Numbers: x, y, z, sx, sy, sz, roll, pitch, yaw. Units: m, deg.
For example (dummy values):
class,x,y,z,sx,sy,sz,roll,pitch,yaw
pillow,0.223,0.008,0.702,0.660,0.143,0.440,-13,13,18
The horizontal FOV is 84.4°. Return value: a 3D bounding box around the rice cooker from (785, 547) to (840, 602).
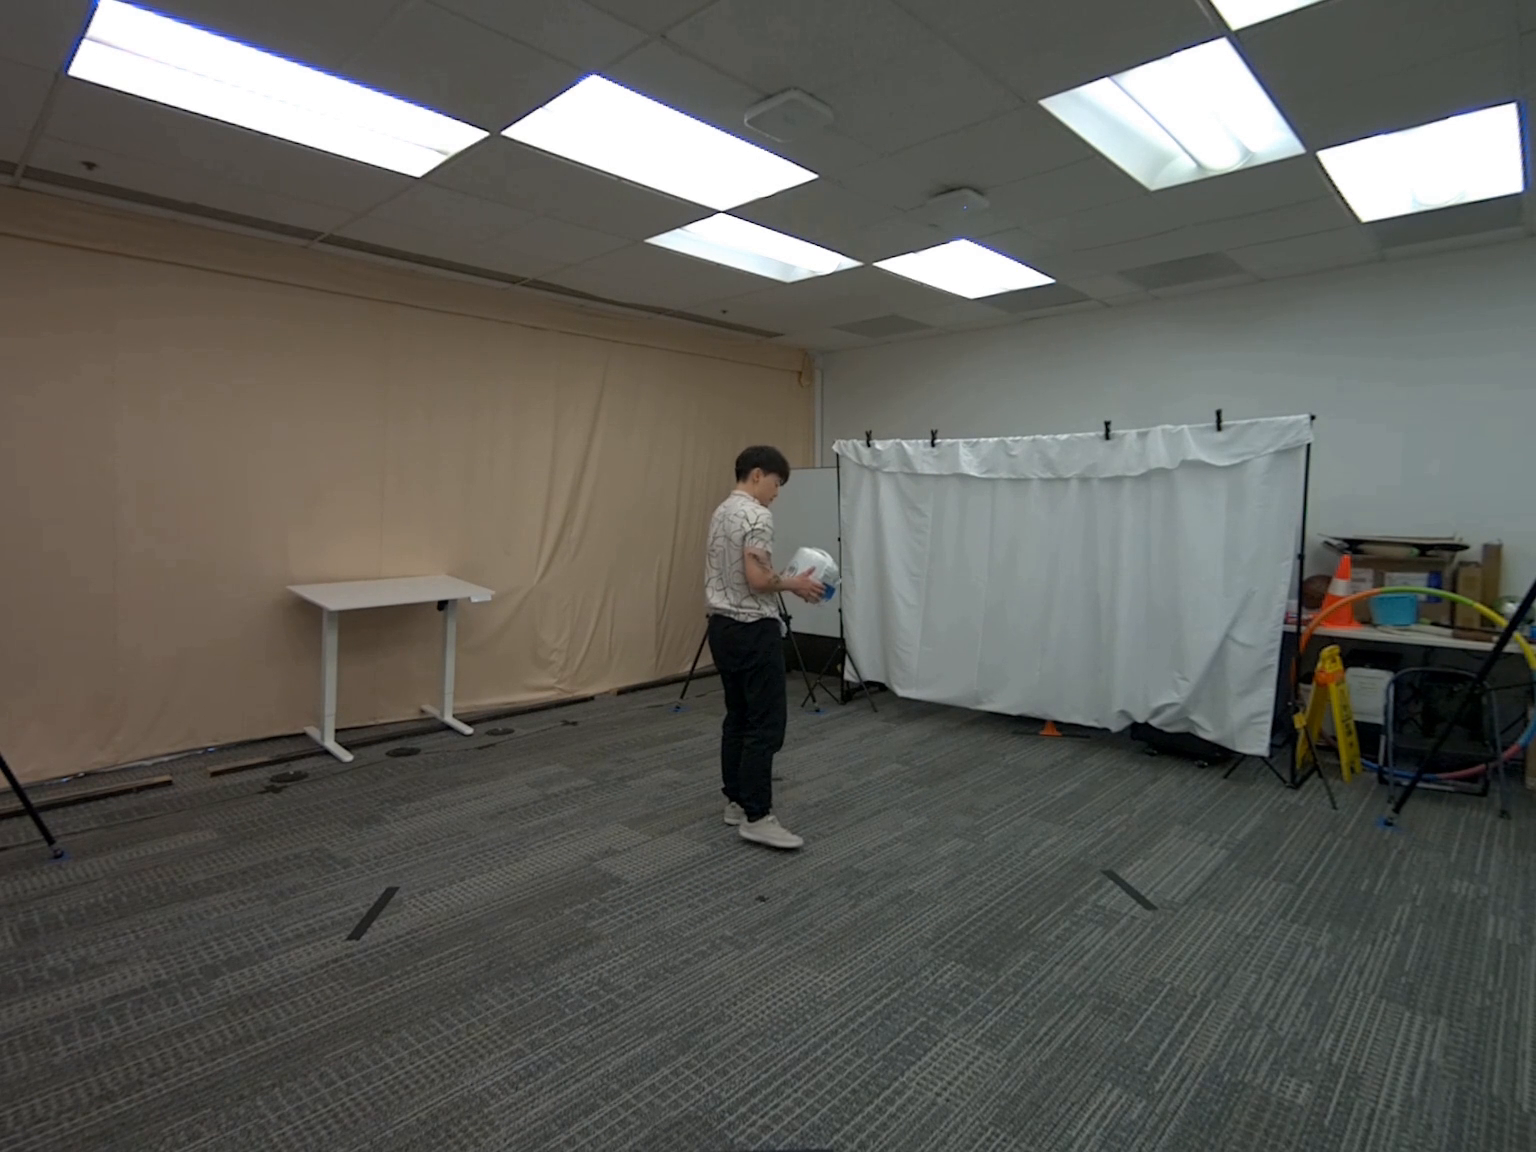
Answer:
class,x,y,z,sx,sy,sz,roll,pitch,yaw
rice cooker,0.188,-0.012,3.754,0.210,0.233,0.229,32,-3,-39
